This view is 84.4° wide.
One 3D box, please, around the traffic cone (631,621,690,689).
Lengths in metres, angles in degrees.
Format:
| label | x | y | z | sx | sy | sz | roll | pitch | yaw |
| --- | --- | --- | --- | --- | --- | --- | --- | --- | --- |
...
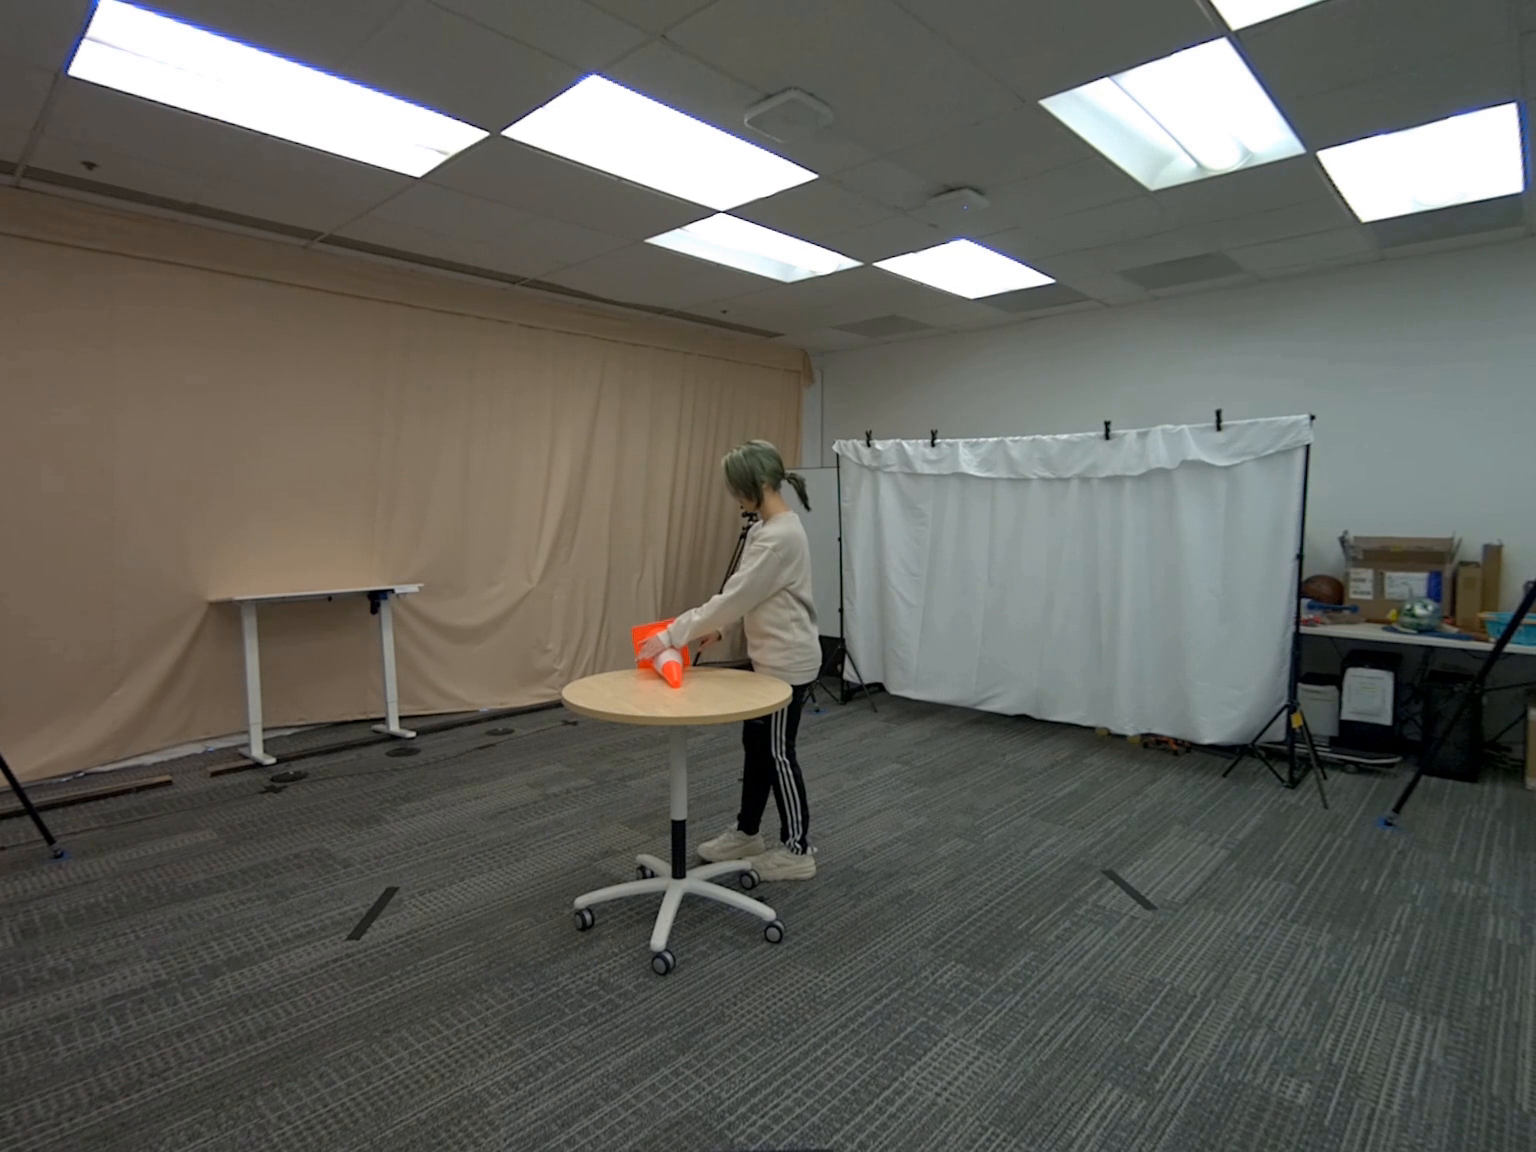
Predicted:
| label | x | y | z | sx | sy | sz | roll | pitch | yaw |
| --- | --- | --- | --- | --- | --- | --- | --- | --- | --- |
| traffic cone | -0.357 | 0.318 | 2.991 | 0.202 | 0.202 | 0.391 | -14 | 17 | -9 |
